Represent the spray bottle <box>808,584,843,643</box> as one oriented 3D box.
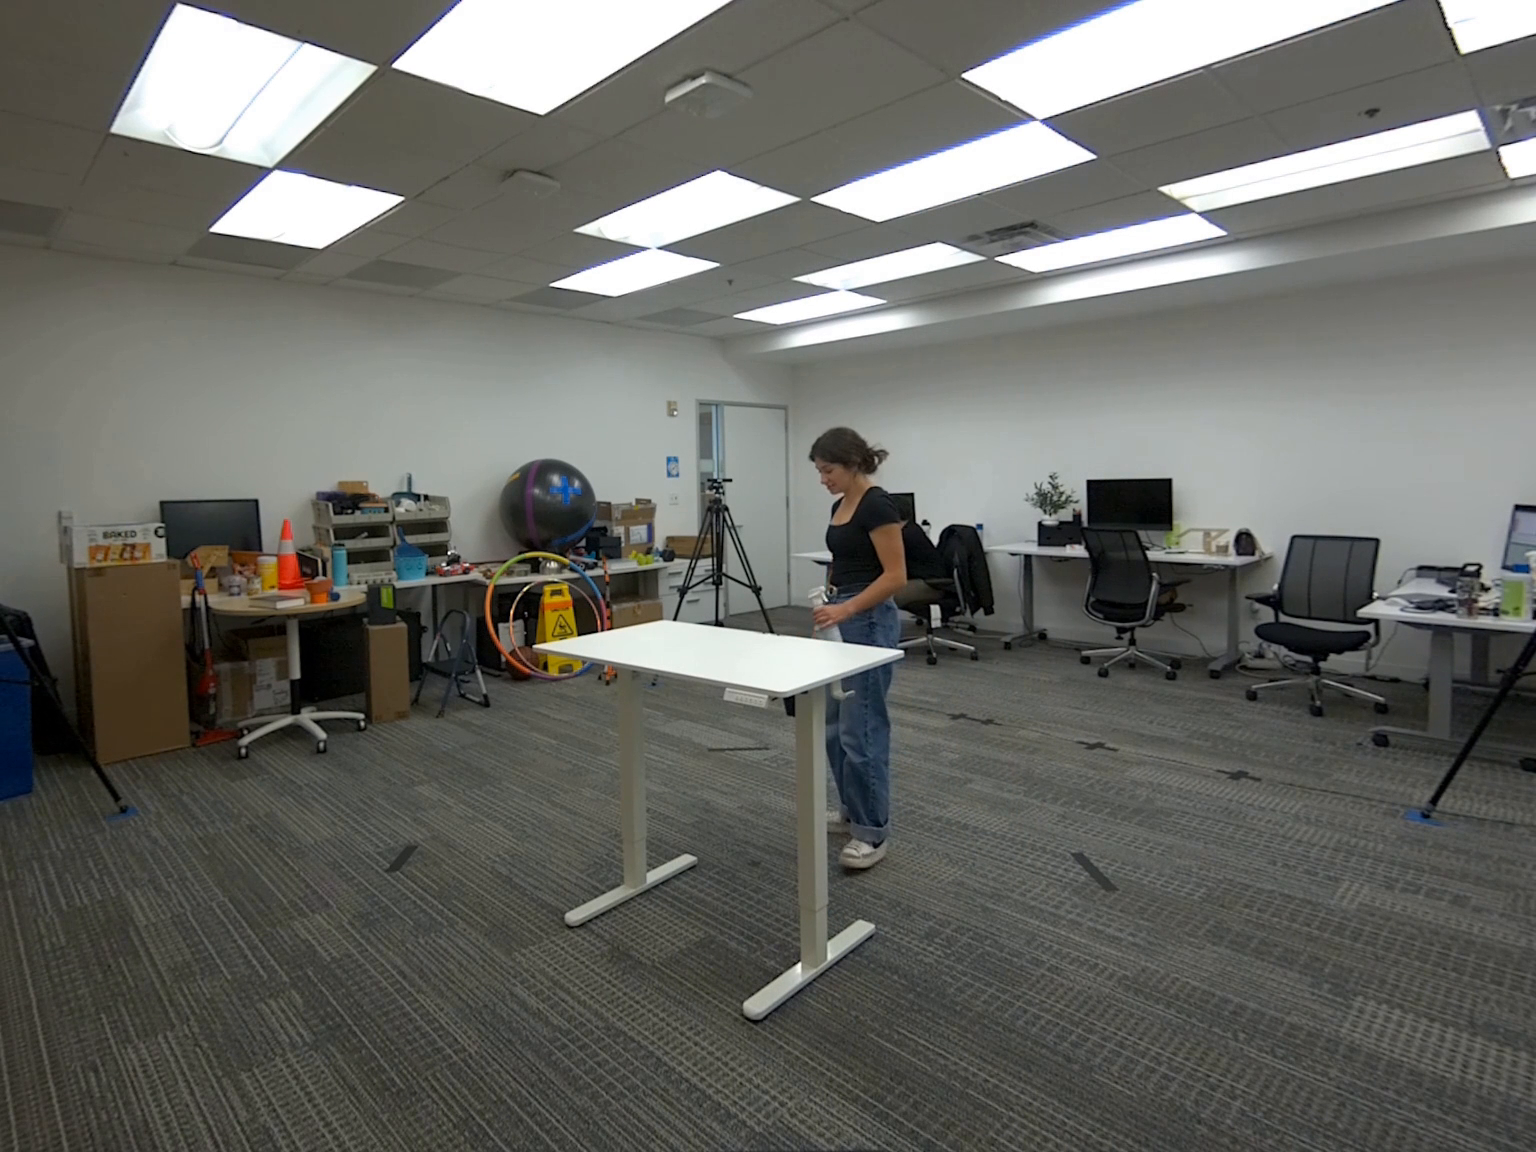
[{"bbox_3d":[0.217,0.184,3.057,0.086,0.298,0.091,-17,-1,-14],"label":"spray bottle"}]
